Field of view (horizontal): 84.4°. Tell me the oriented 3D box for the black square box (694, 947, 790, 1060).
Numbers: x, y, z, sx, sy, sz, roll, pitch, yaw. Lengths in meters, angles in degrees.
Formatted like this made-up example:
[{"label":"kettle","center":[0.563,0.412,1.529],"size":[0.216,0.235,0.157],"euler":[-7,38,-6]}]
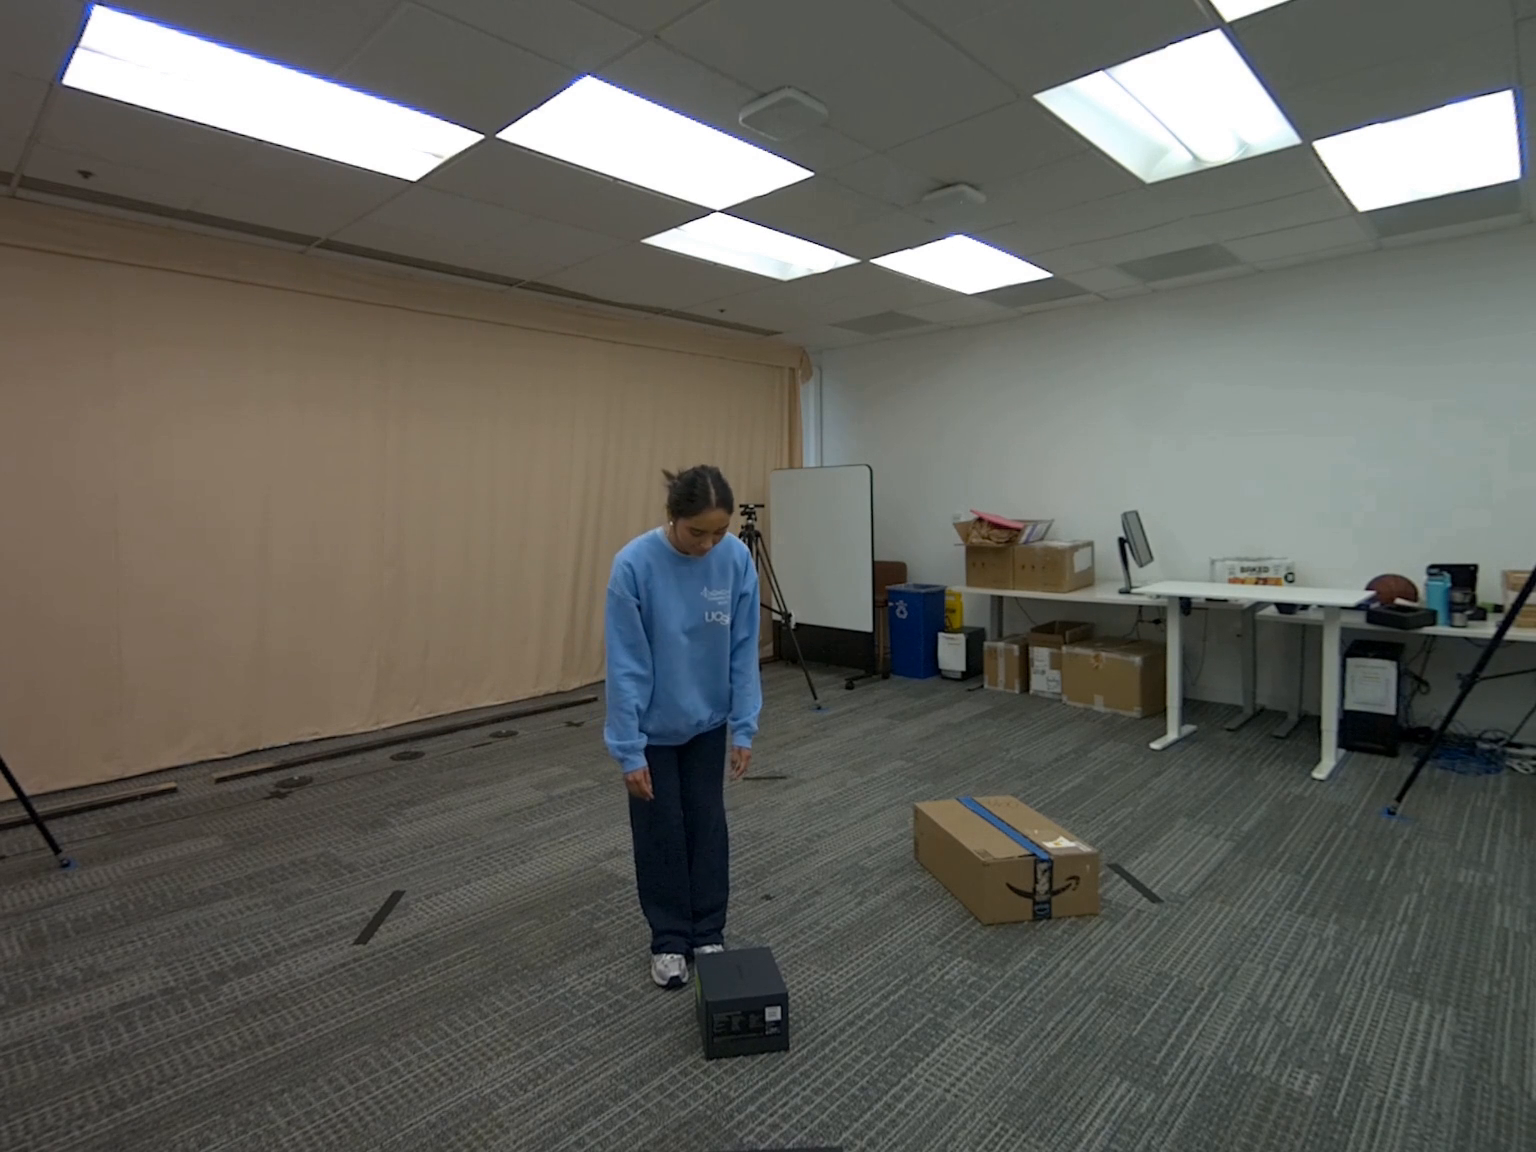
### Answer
[{"label":"black square box","center":[-0.070,1.124,2.226],"size":[0.215,0.155,0.231],"euler":[-1,5,-11]}]
